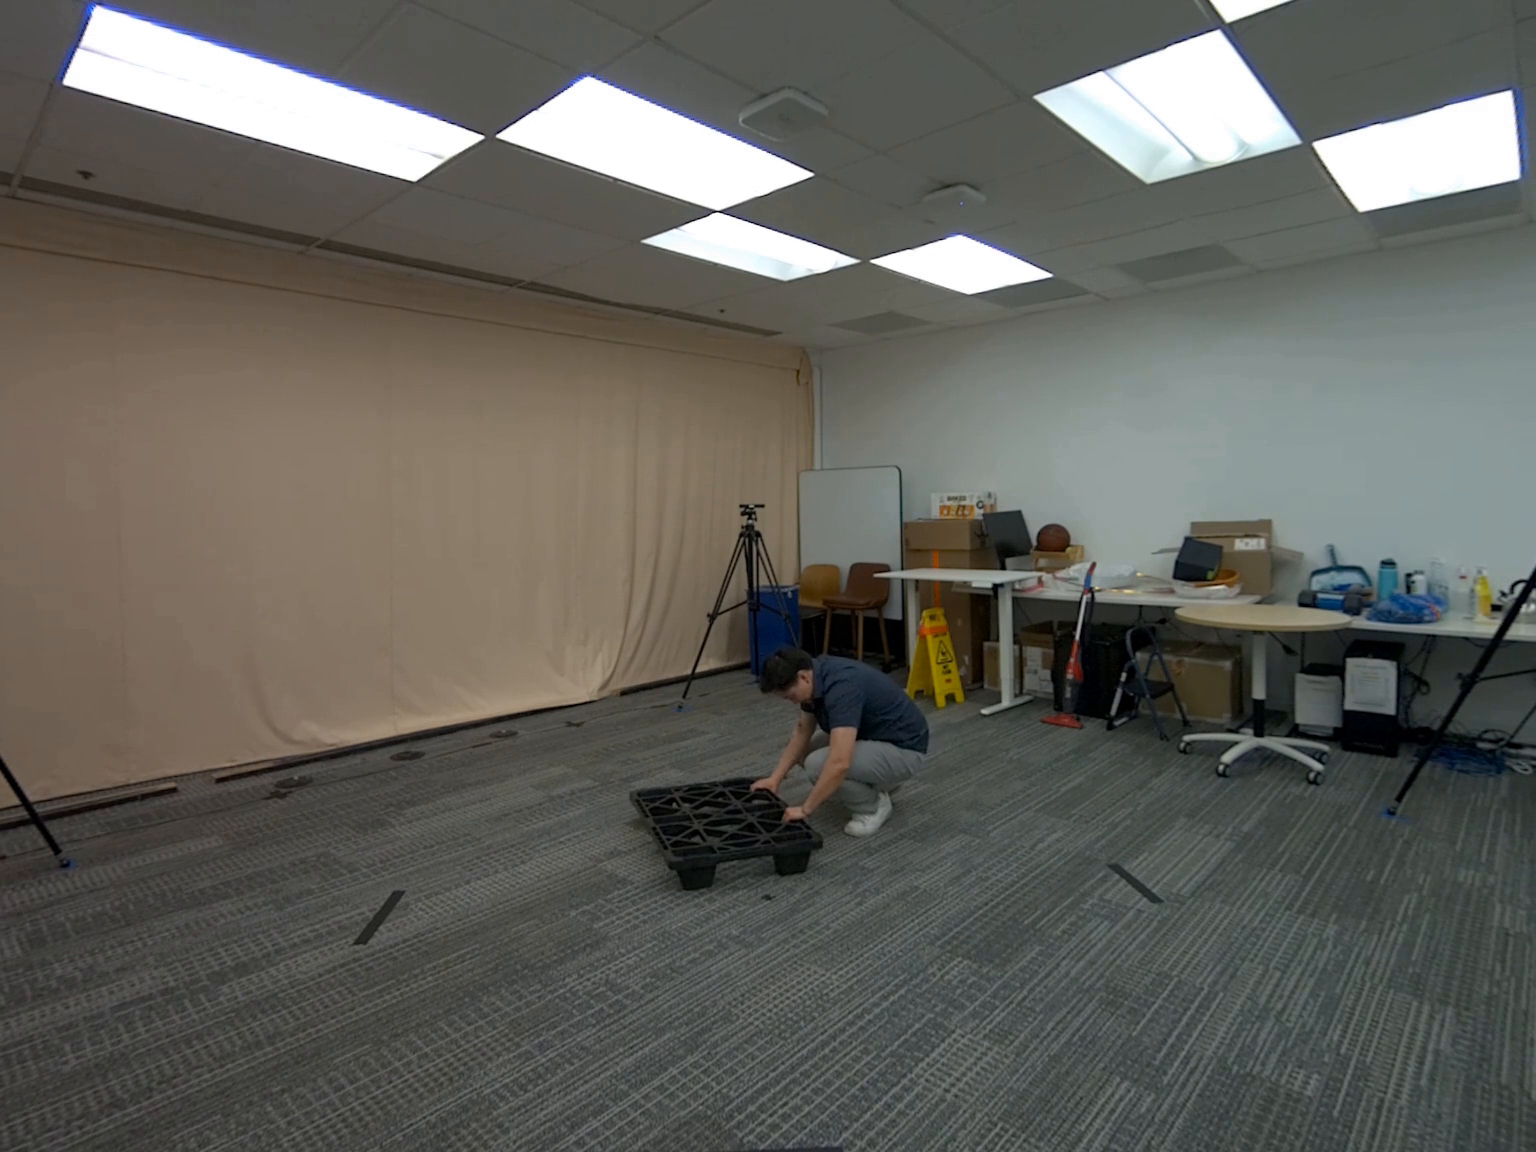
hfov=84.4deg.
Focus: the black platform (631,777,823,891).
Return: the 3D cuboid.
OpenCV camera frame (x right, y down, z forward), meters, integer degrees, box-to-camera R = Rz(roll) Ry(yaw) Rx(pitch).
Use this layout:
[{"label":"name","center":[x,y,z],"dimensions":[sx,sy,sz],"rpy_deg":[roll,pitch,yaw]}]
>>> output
[{"label":"black platform","center":[-0.205,1.035,3.446],"dimensions":[0.595,0.143,0.822],"rpy_deg":[-3,5,-18]}]
